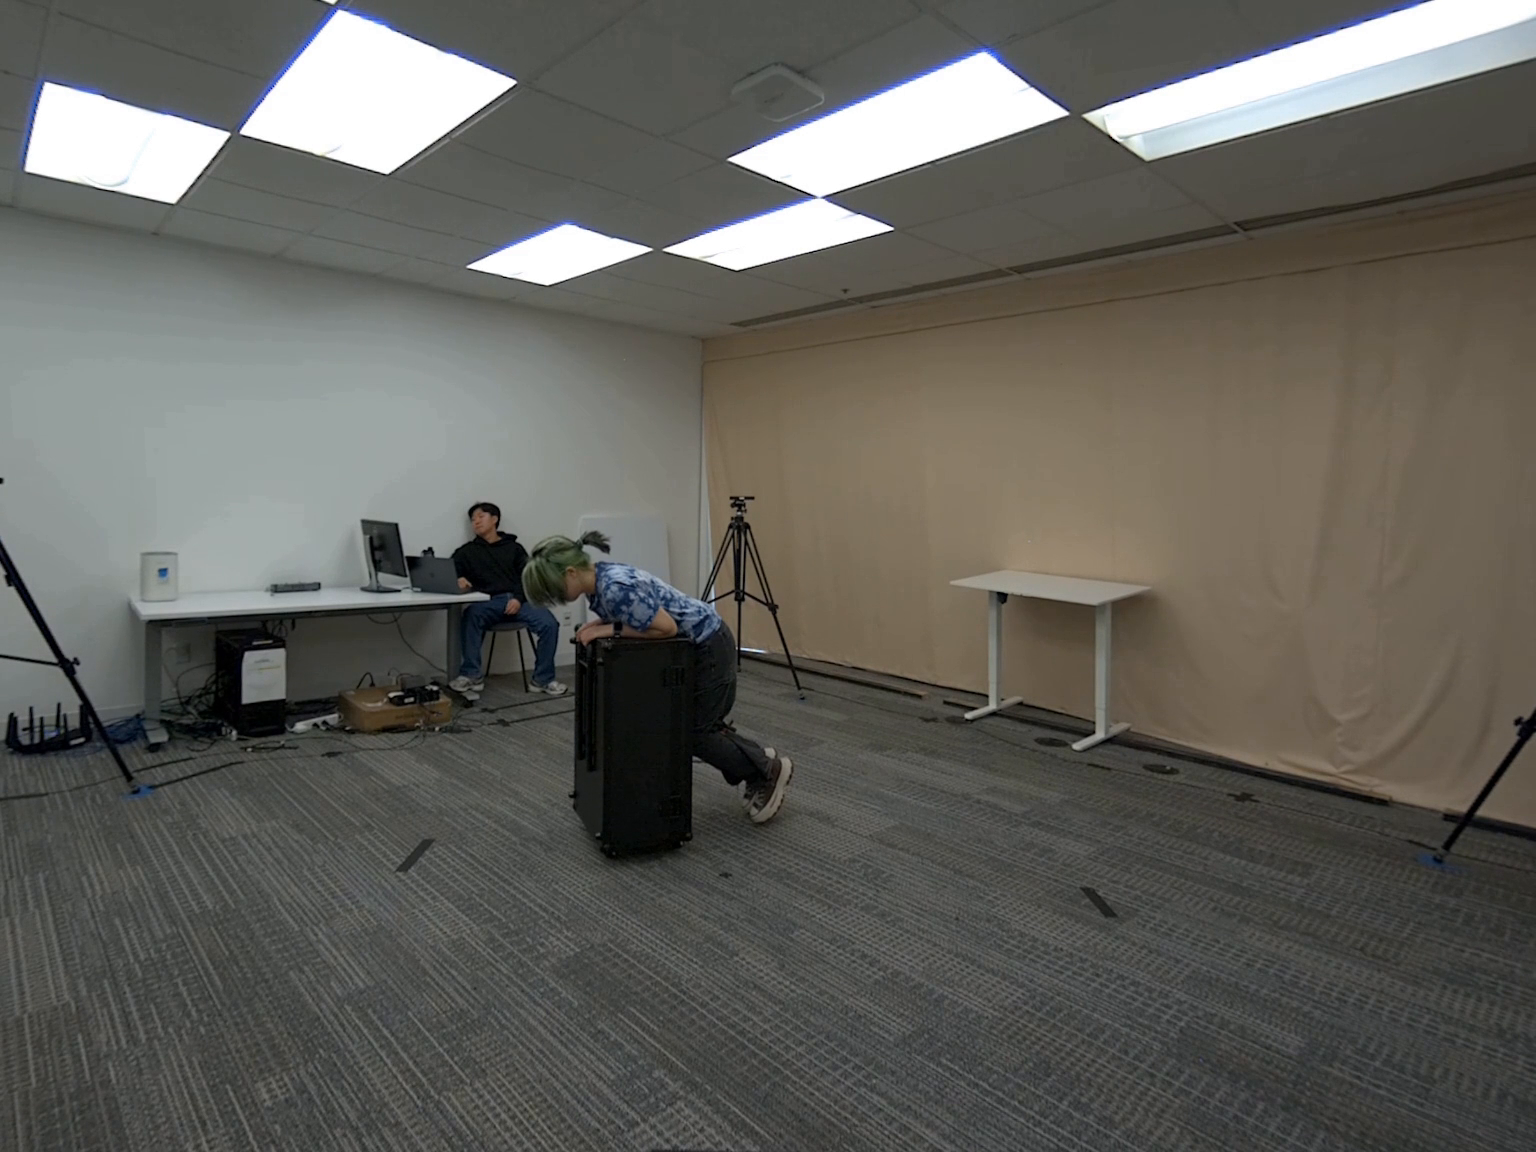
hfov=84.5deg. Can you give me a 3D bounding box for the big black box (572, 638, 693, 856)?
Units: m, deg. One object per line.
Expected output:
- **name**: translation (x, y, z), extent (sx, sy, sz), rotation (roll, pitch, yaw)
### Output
- **big black box**: translation (-0.568, 0.596, 3.363), extent (0.389, 0.859, 0.532), rotation (-1, 4, -25)
